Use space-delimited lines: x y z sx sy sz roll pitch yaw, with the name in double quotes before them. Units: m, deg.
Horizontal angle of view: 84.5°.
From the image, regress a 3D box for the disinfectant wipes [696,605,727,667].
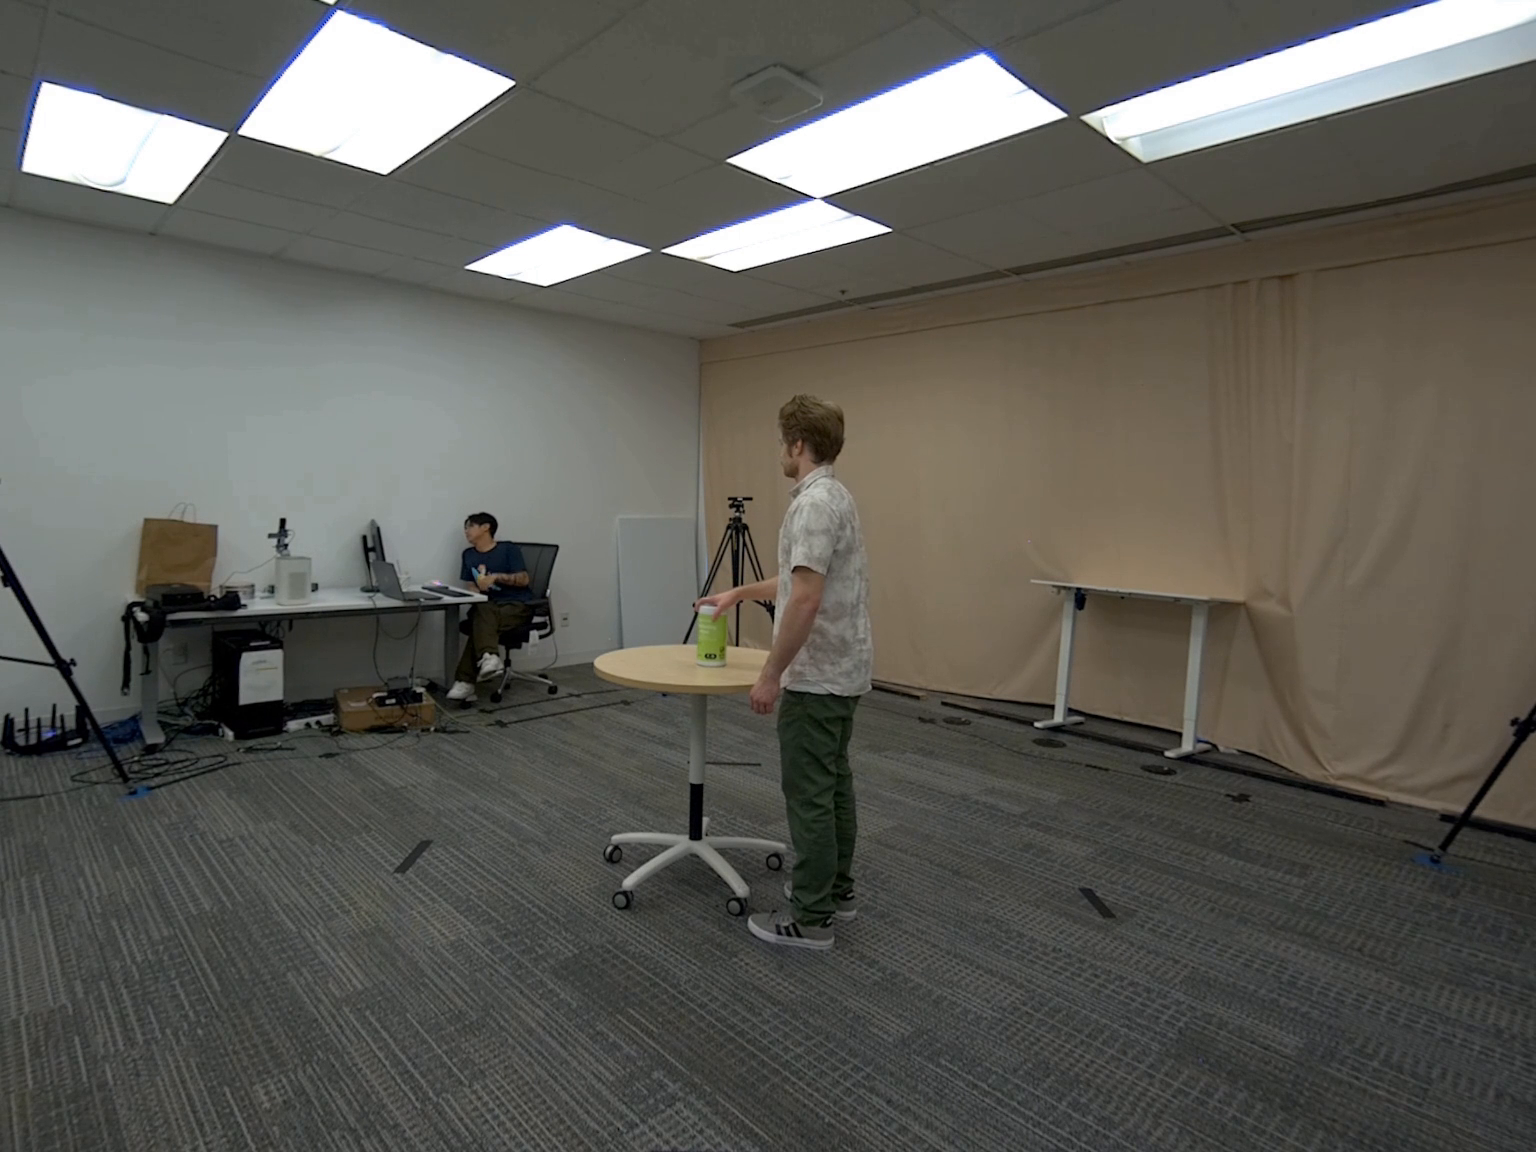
"disinfectant wipes" -0.207 0.216 3.032 0.118 0.217 0.118 2 4 -2
